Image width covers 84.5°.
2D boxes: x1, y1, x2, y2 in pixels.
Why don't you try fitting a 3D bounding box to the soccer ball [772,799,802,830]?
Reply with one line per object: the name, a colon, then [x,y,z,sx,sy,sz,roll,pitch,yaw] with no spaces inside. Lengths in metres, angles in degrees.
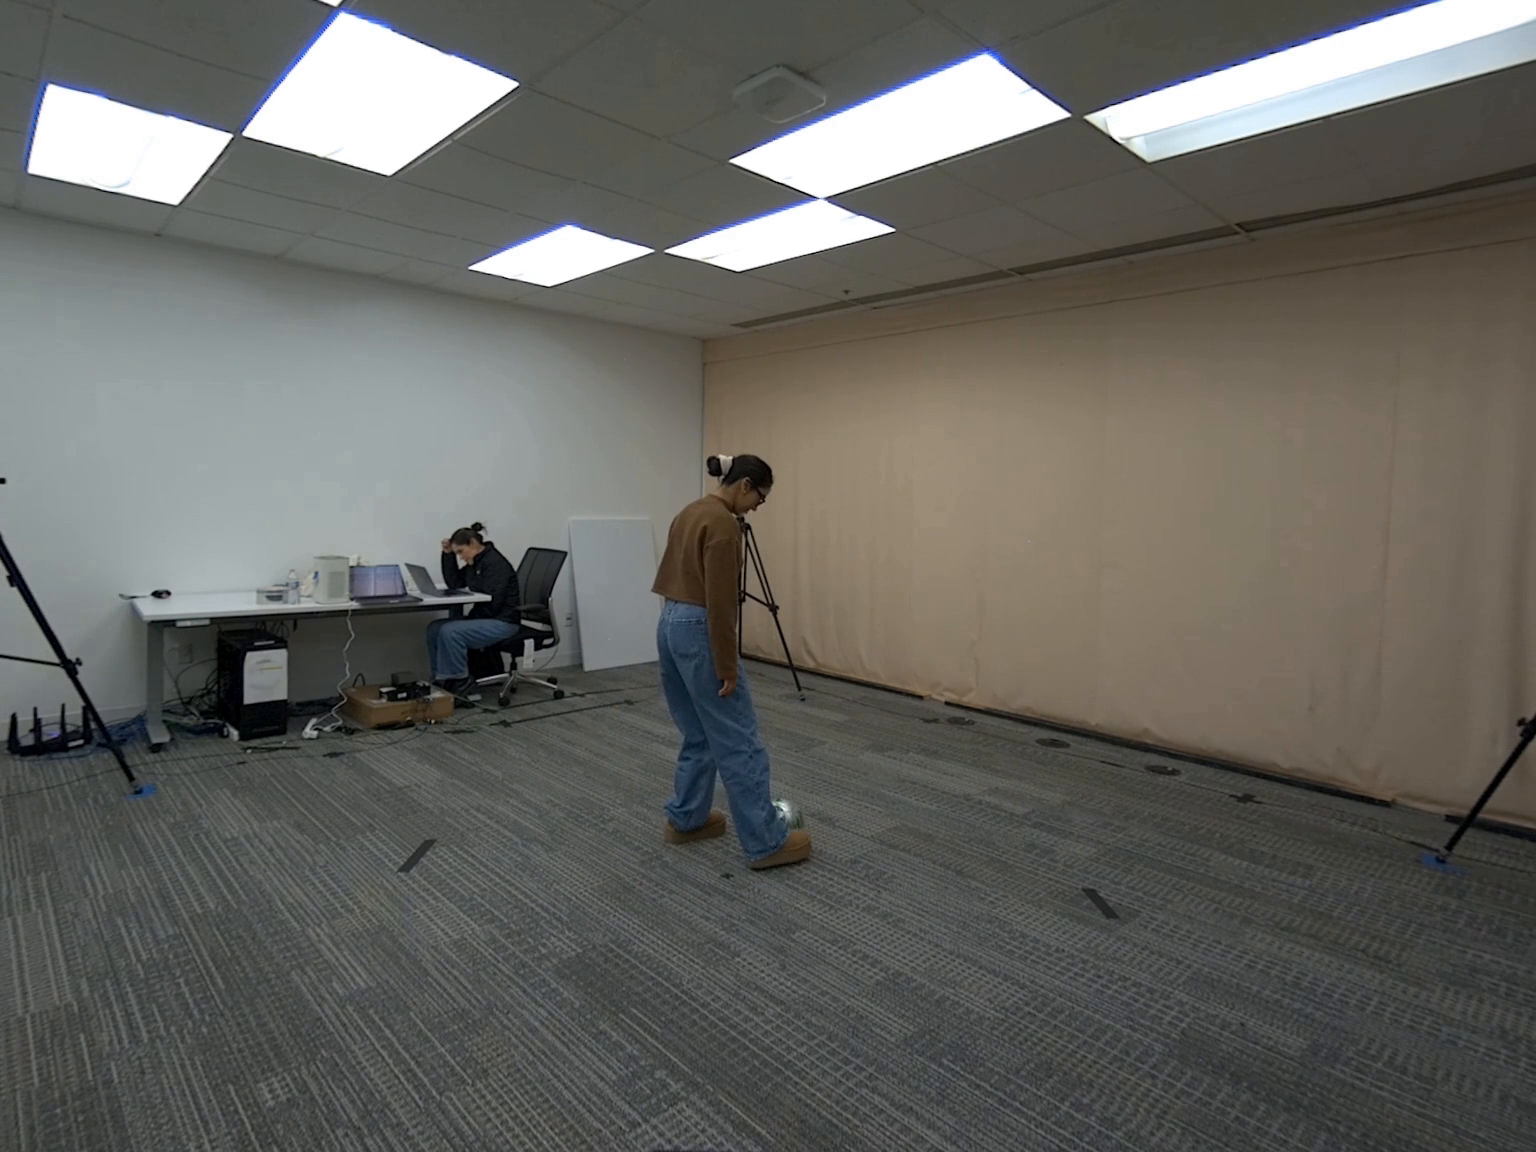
soccer ball: [0.044,0.994,3.396,0.187,0.187,0.188,1,4,-1]
